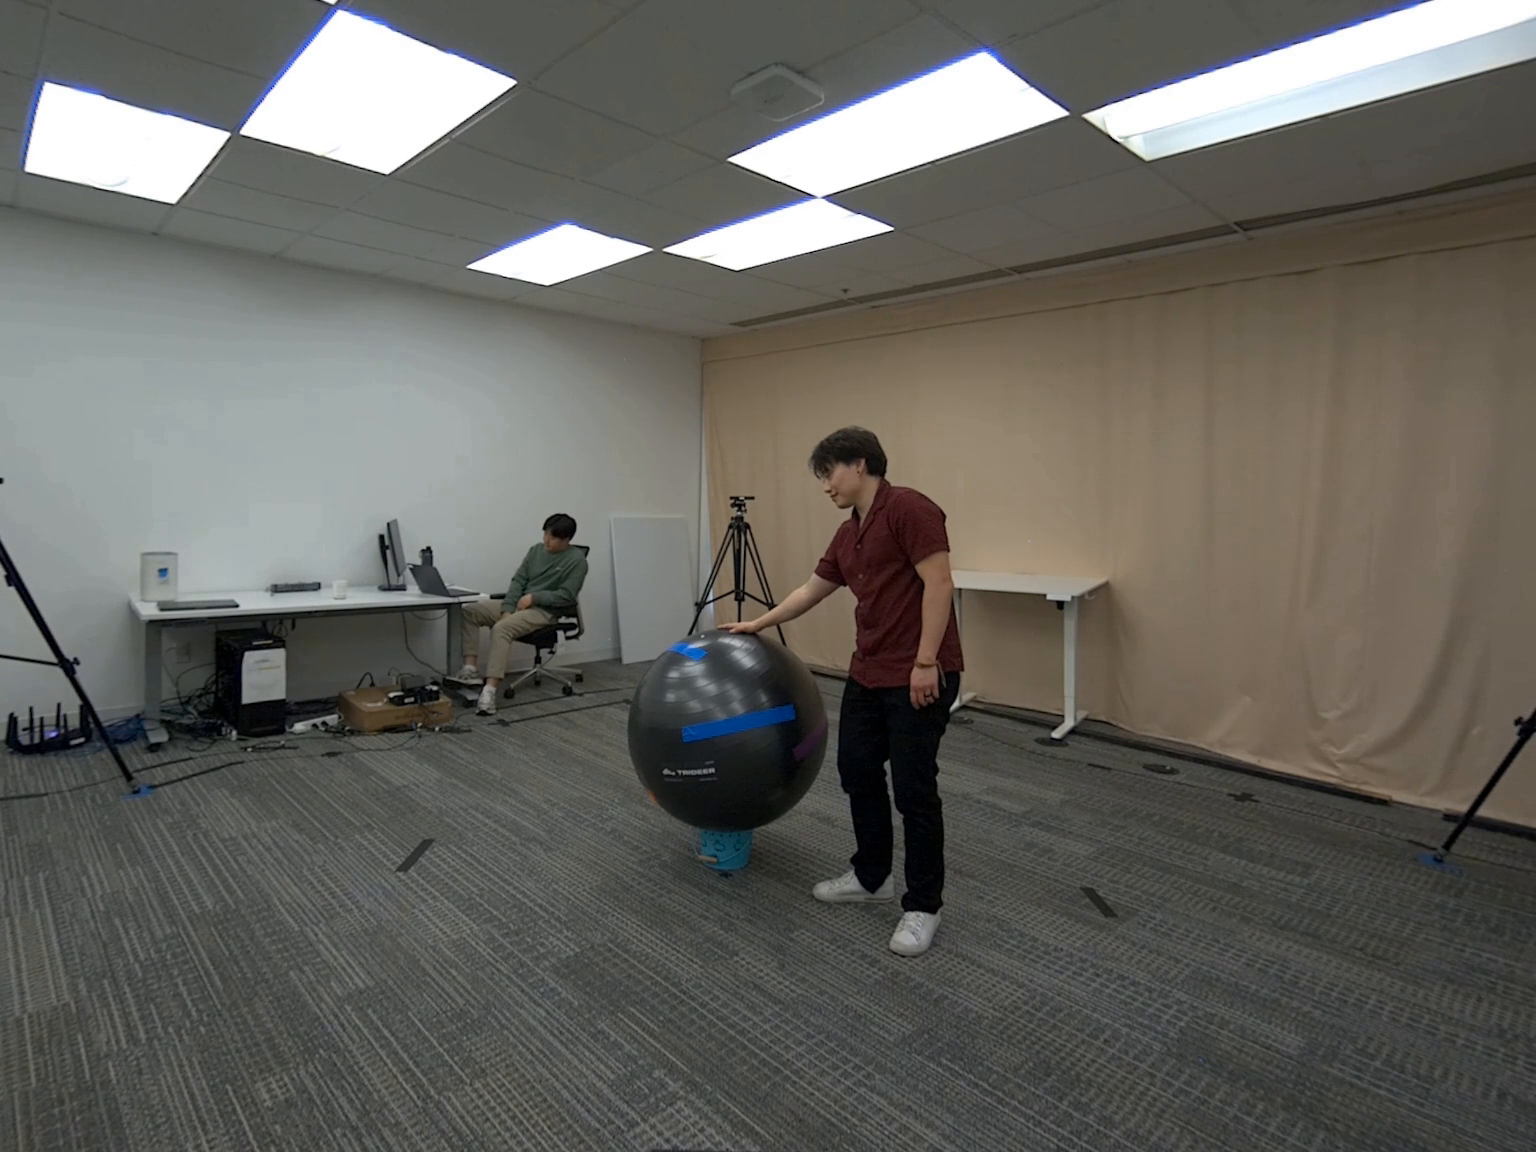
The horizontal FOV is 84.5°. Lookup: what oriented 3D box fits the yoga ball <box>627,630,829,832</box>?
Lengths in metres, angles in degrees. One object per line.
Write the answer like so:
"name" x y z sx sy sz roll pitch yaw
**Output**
"yoga ball" -0.163 0.586 3.213 0.757 0.756 0.761 1 4 -1
